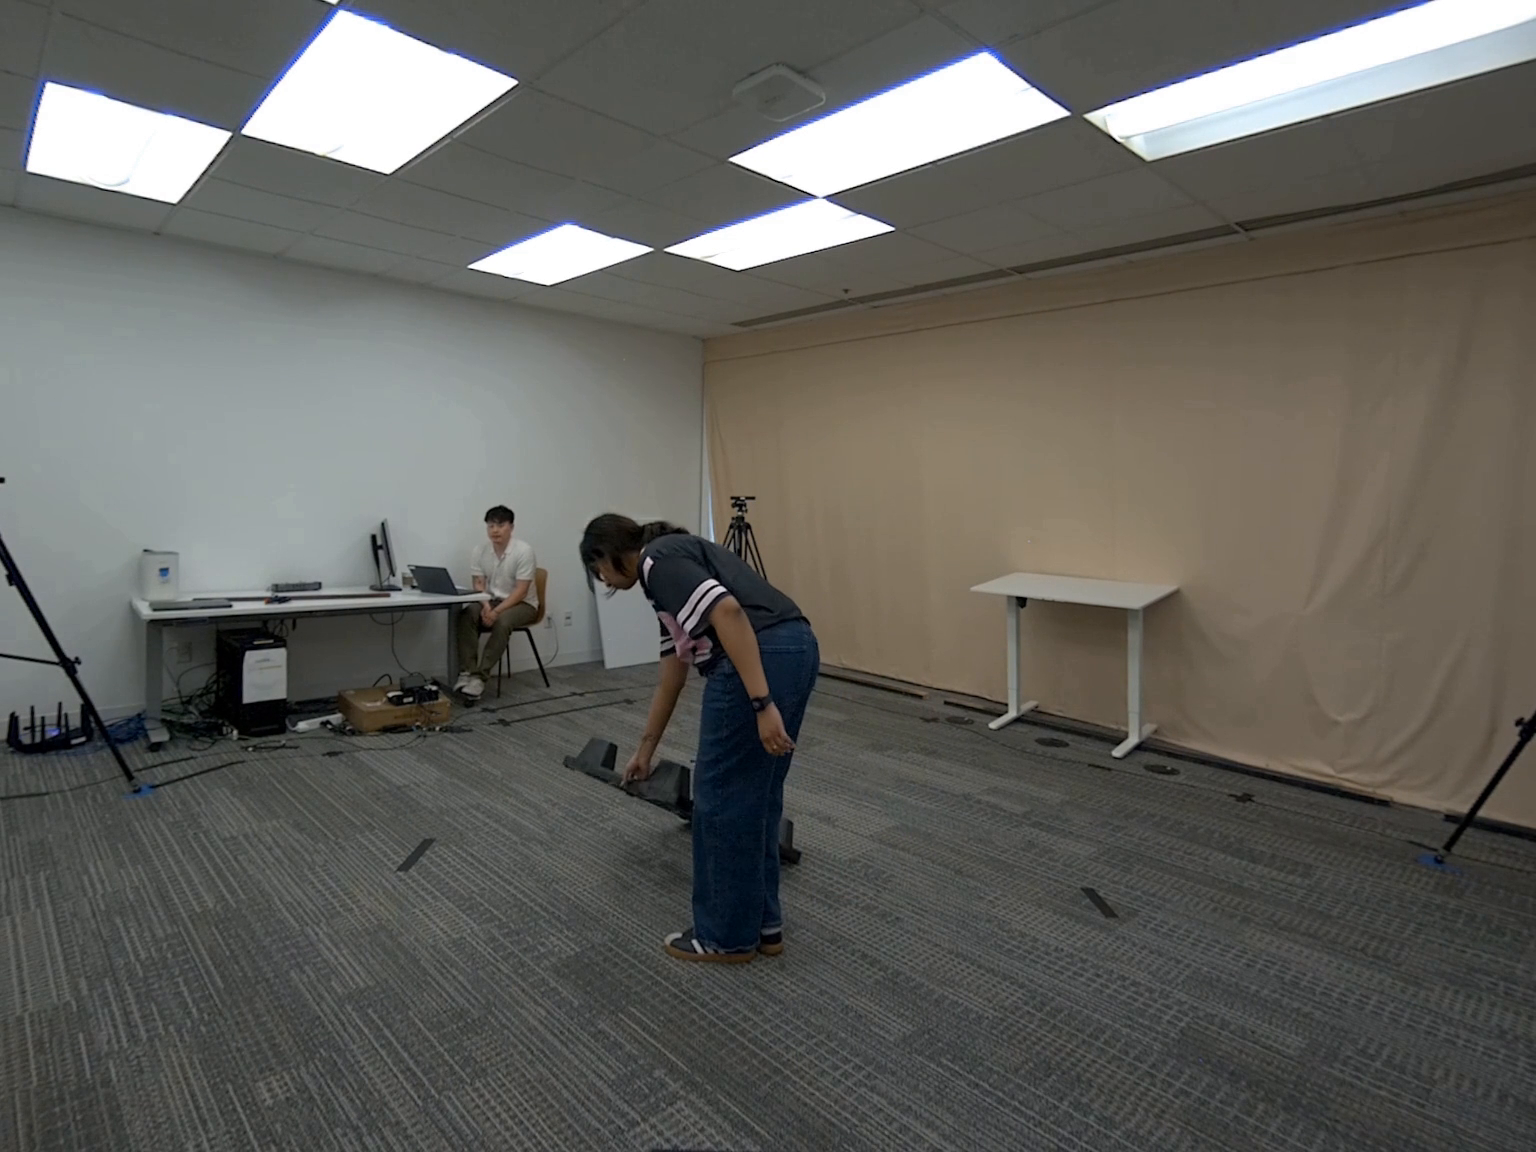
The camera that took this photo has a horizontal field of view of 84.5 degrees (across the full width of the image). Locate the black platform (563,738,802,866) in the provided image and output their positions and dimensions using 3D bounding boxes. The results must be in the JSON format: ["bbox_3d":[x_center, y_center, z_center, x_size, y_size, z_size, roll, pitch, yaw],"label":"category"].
[{"bbox_3d":[-0.307,0.843,3.178,0.621,0.144,0.780,6,-24,41],"label":"black platform"}]
